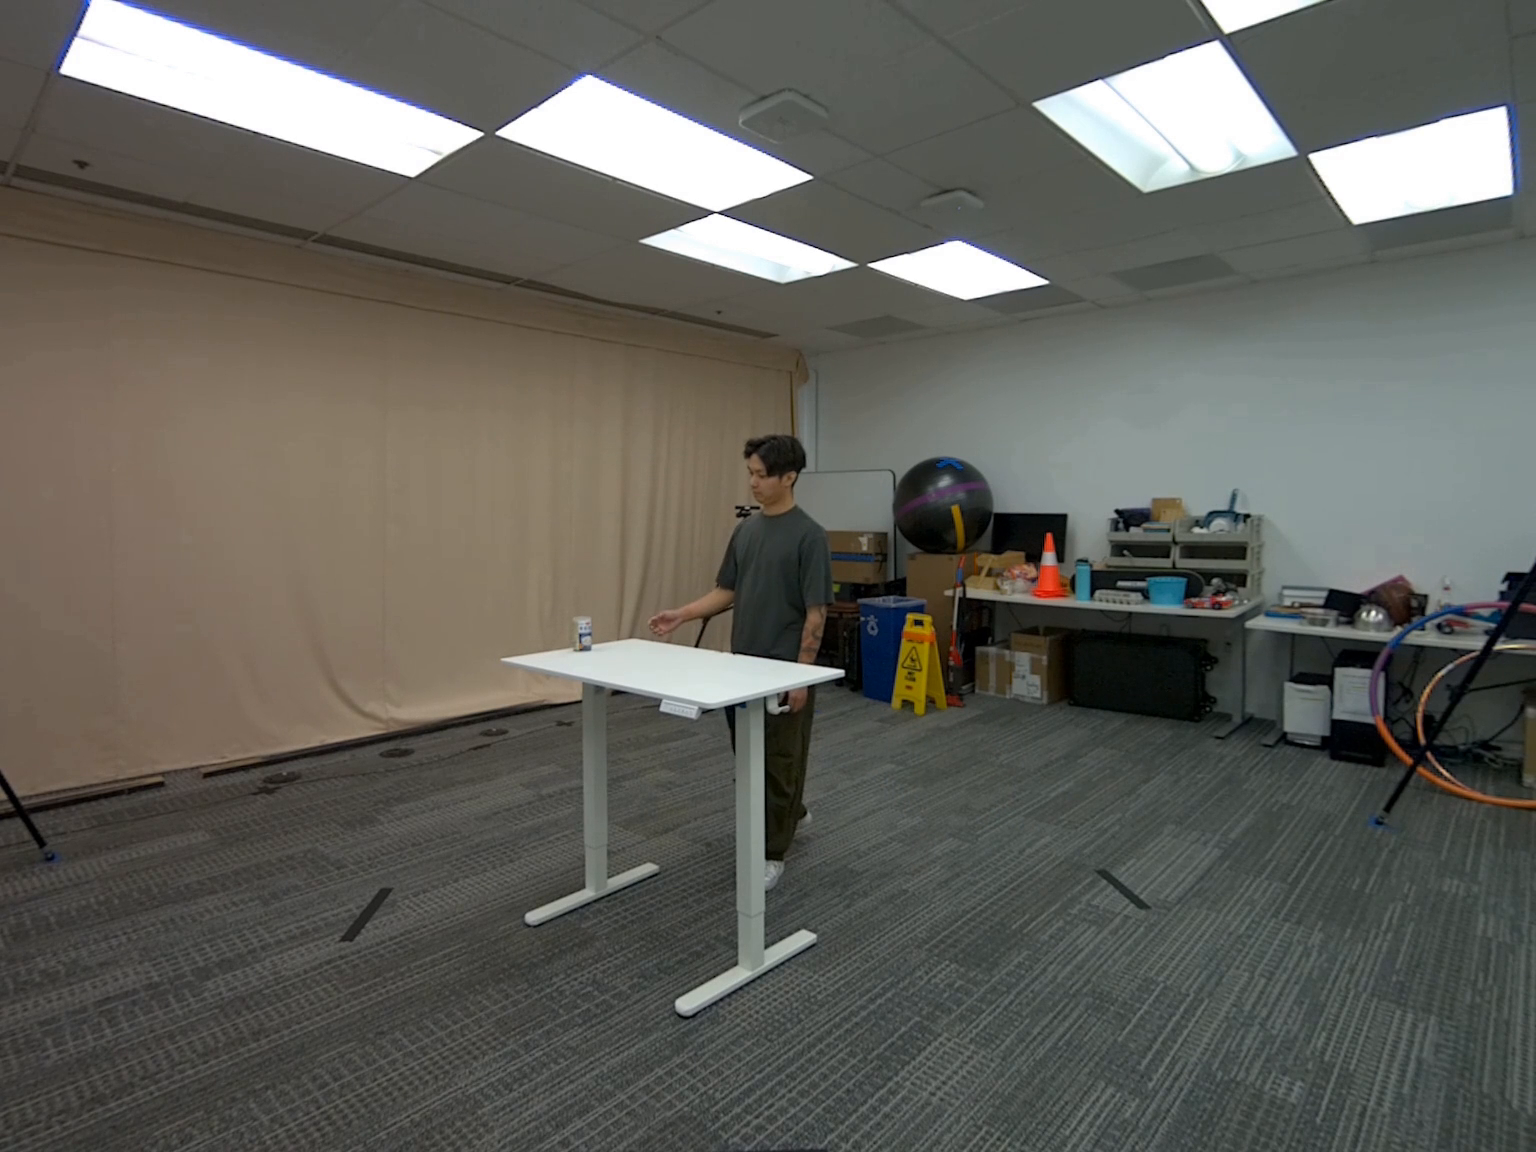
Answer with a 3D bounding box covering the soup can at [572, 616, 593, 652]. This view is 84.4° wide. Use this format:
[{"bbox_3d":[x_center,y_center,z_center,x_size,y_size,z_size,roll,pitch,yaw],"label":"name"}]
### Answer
[{"bbox_3d":[-0.665,0.212,3.012,0.067,0.121,0.067,0,-1,-2],"label":"soup can"}]
